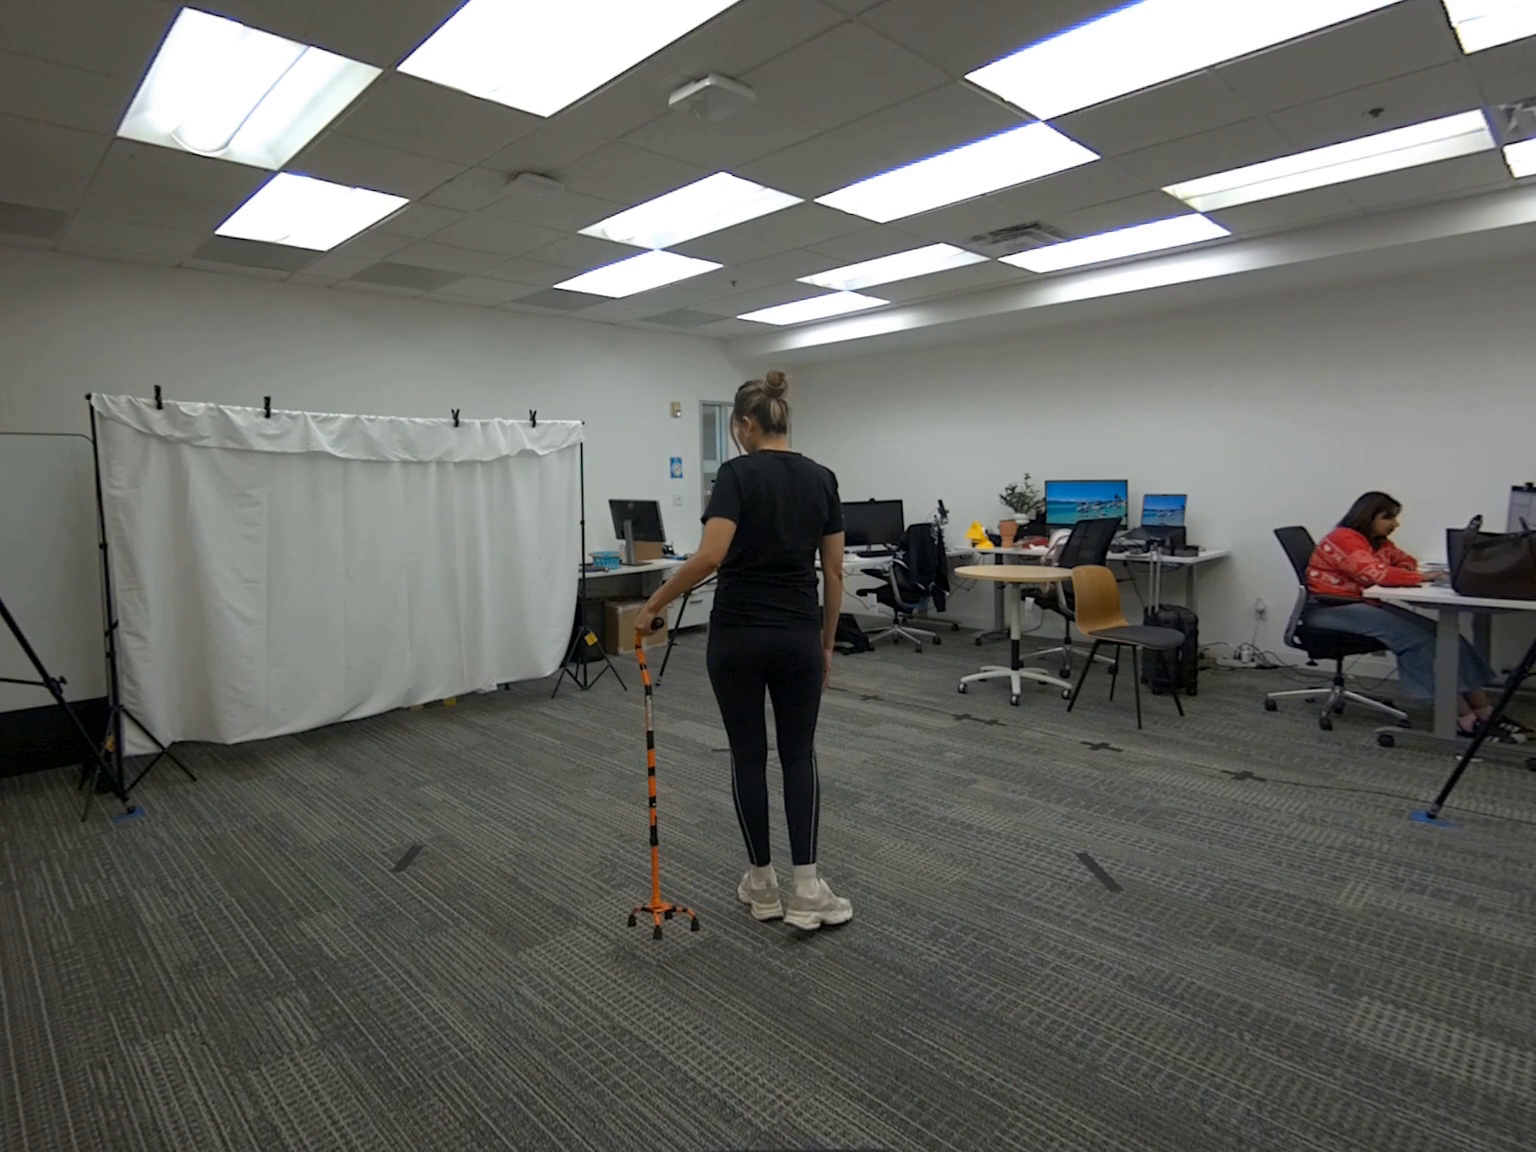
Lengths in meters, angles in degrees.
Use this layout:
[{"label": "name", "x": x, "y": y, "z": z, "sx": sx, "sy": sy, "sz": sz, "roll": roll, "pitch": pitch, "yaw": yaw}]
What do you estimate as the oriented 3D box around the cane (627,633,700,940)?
[{"label": "cane", "x": -0.337, "y": 0.598, "z": 2.609, "sx": 0.148, "sy": 0.916, "sz": 0.210, "roll": 1, "pitch": -10, "yaw": -32}]
